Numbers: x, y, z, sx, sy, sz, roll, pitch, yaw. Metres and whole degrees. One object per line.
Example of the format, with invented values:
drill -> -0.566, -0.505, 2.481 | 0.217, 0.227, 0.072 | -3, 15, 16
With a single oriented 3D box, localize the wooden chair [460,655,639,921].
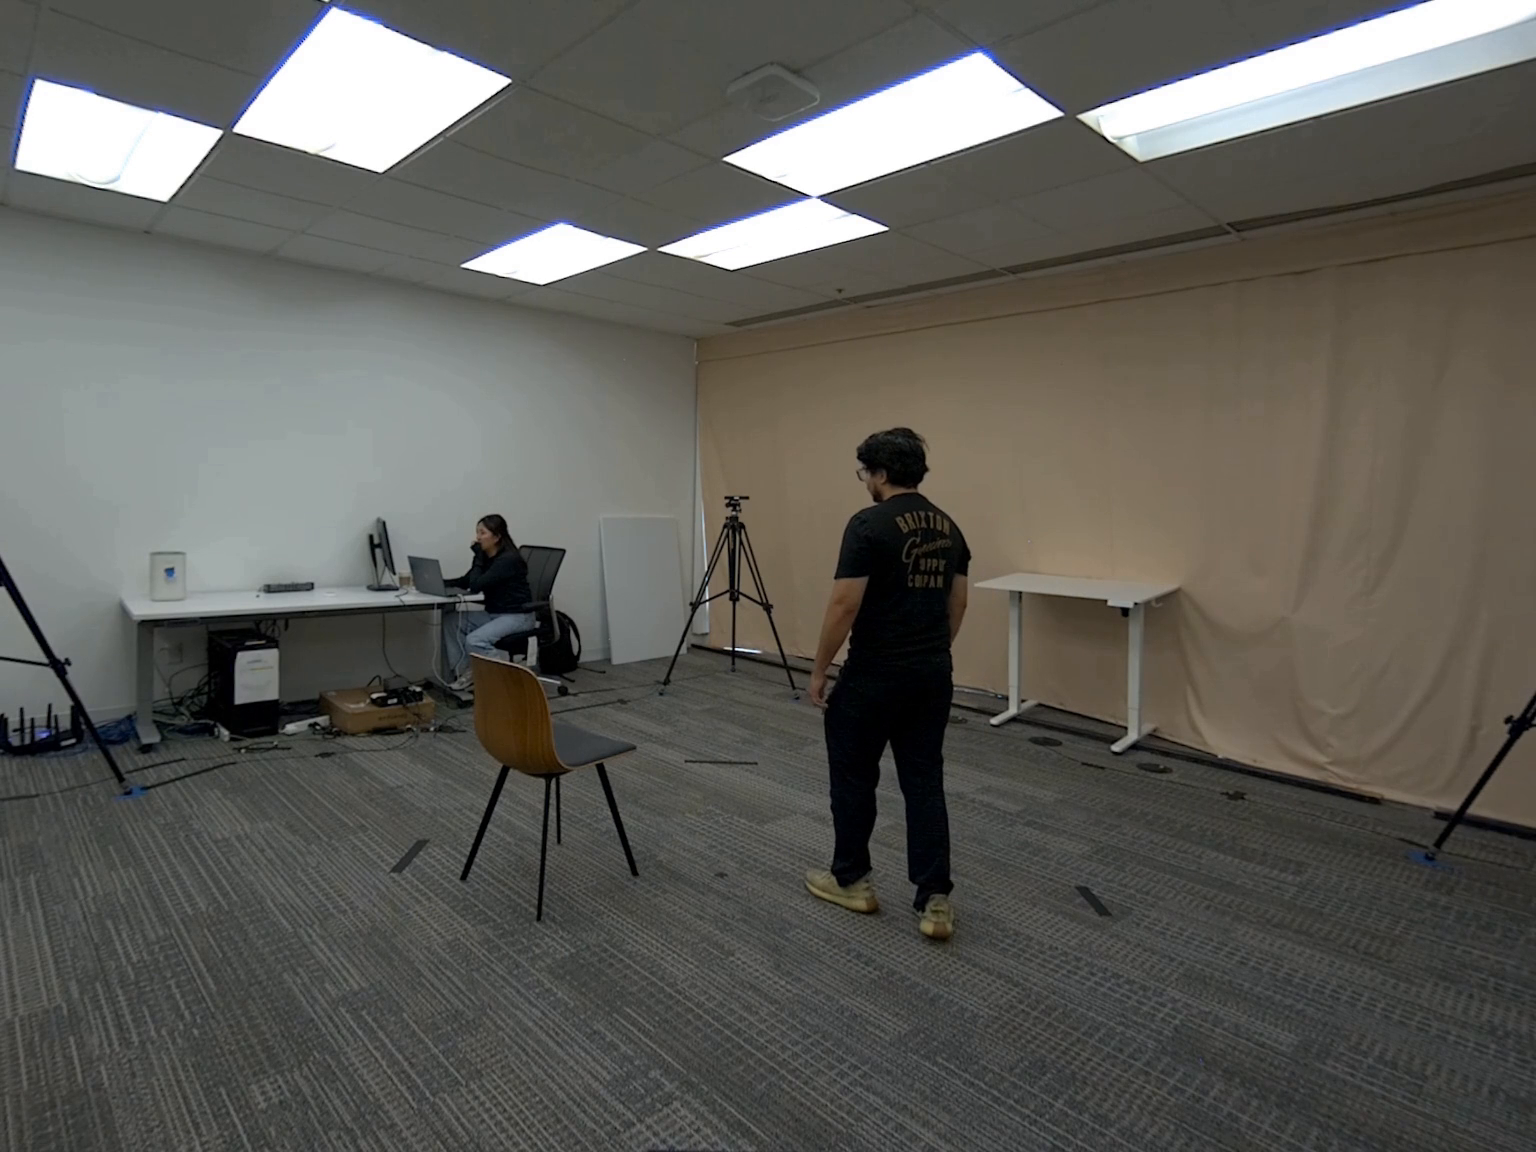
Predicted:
wooden chair -> -0.774, 0.665, 3.026 | 0.490, 0.873, 0.513 | 4, 8, 38
